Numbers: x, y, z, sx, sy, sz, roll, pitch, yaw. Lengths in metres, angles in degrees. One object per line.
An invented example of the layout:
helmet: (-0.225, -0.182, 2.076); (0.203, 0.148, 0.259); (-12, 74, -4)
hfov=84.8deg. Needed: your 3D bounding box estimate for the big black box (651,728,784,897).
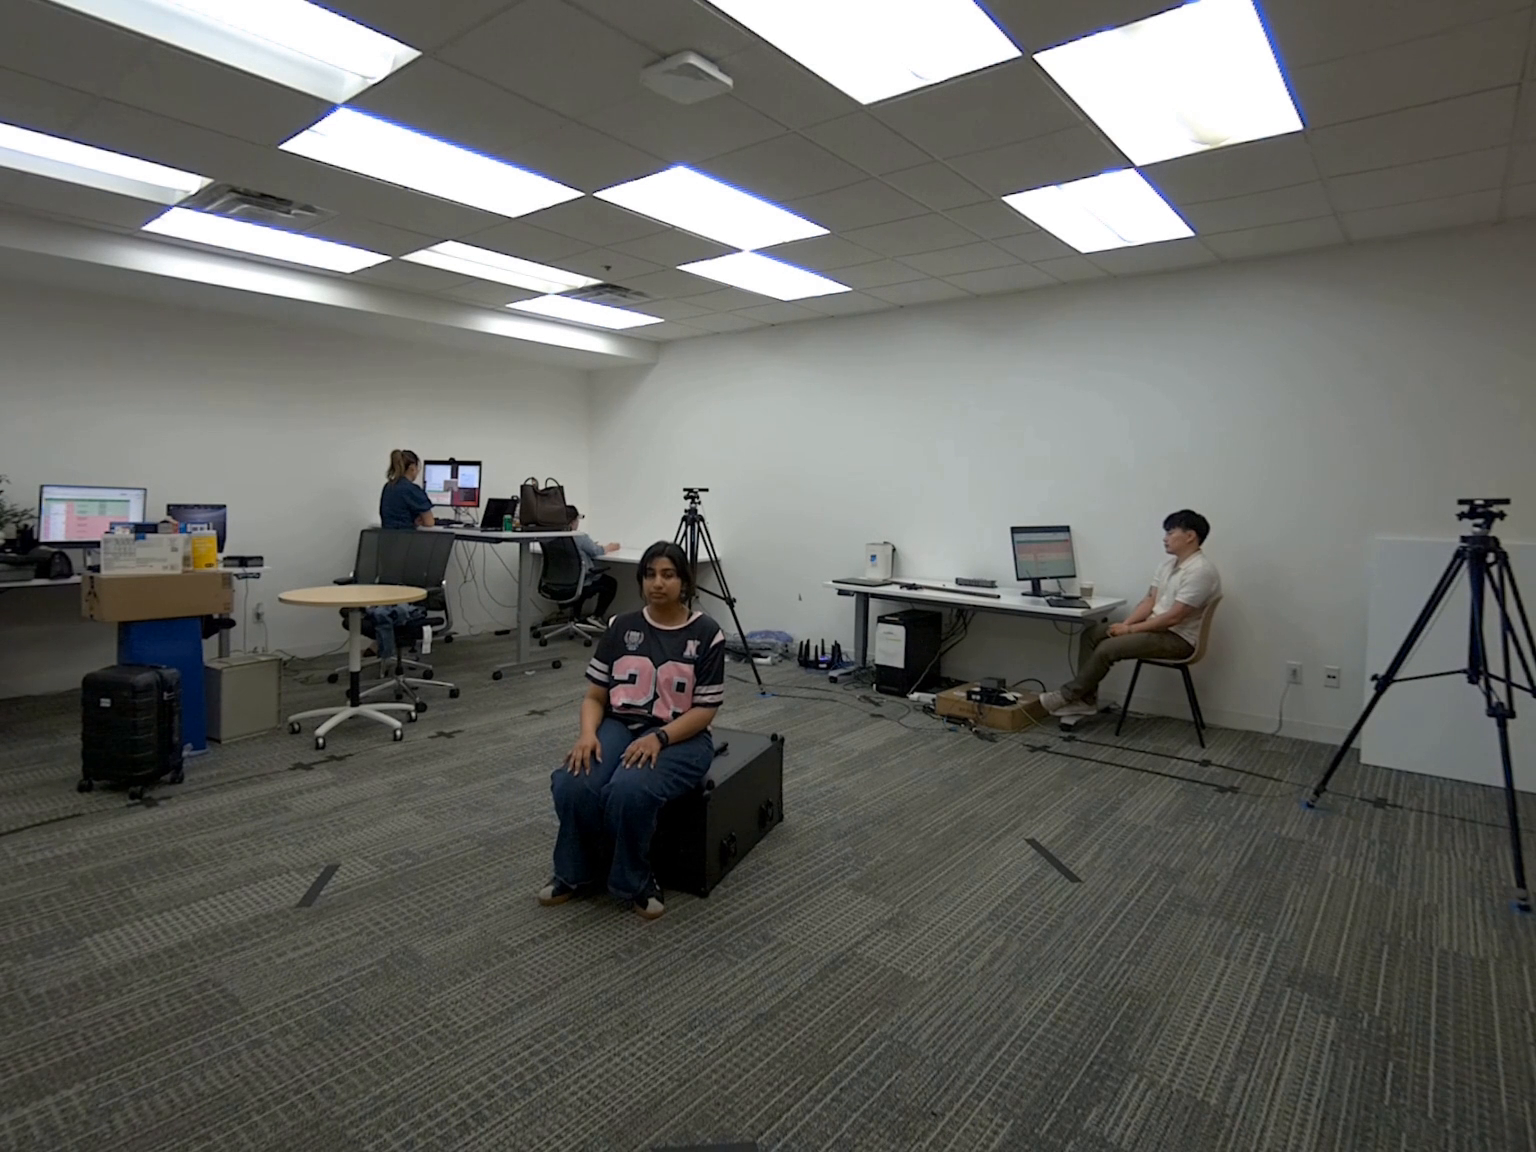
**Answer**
big black box: (-0.296, 0.859, 3.363); (0.535, 0.384, 0.852); (1, 5, 21)
